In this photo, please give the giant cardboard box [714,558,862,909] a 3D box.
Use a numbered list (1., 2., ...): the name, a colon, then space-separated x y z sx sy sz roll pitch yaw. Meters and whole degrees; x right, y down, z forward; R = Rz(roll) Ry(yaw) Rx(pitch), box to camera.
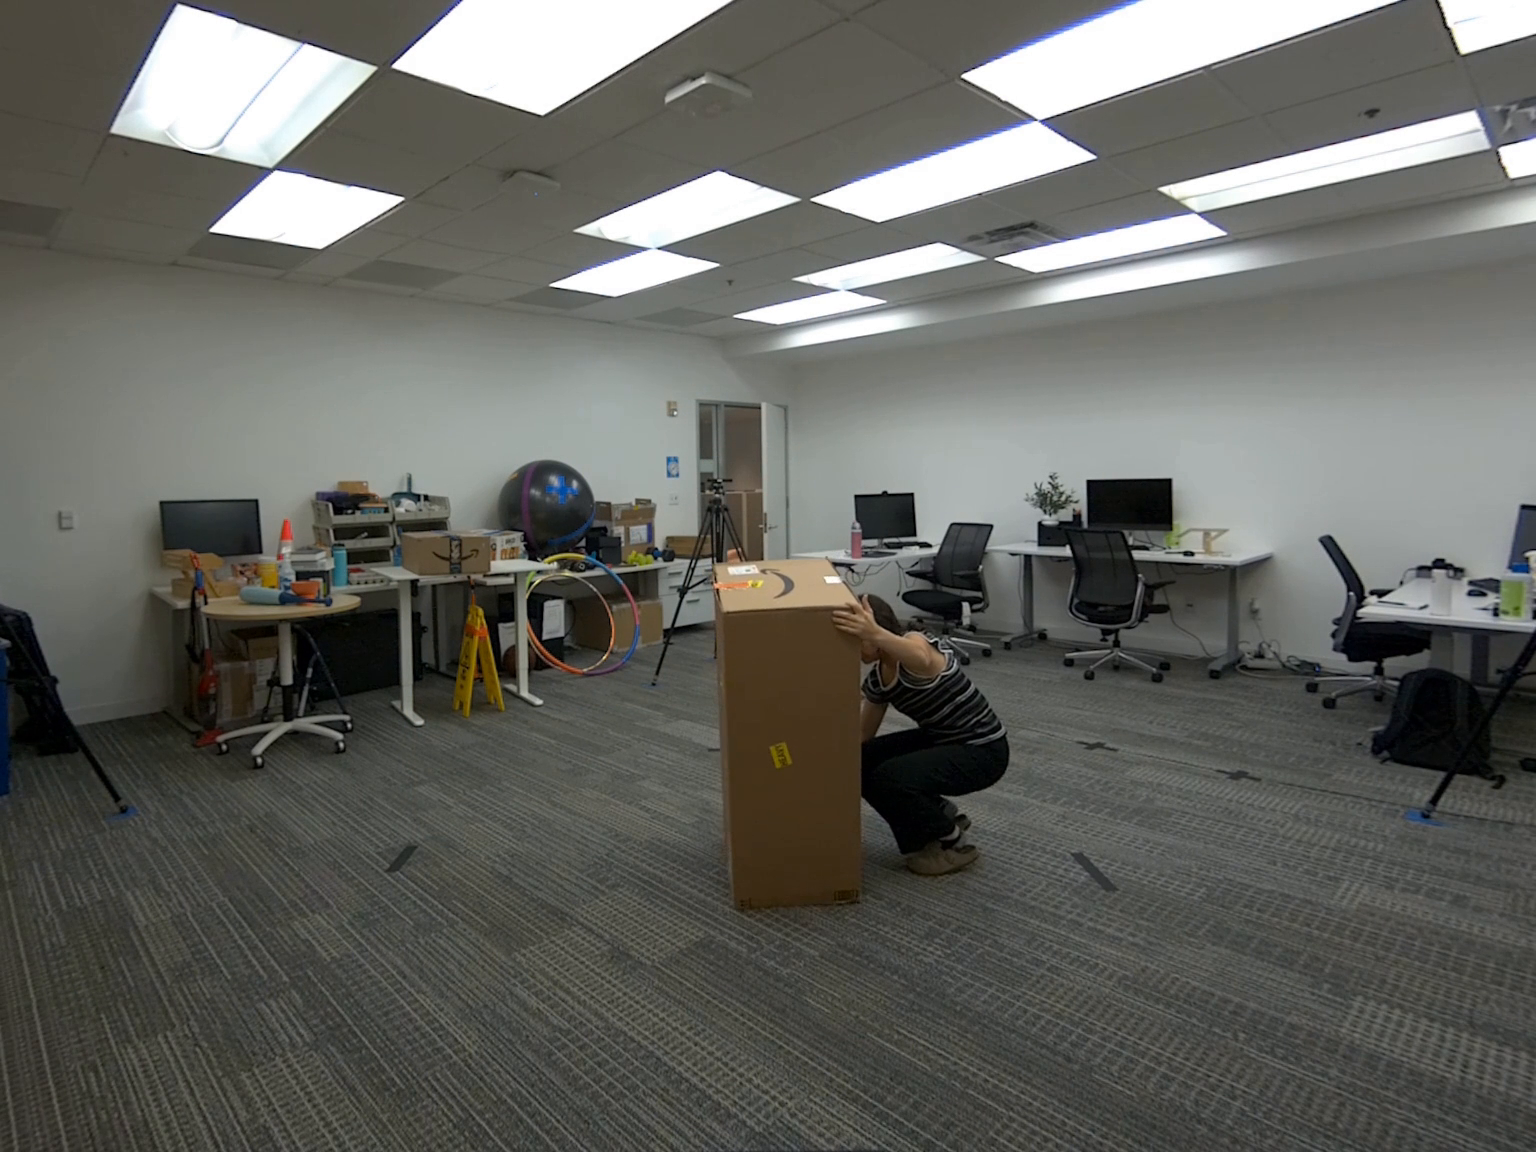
1. giant cardboard box: 0.061 0.509 2.945 0.424 1.013 0.588 -3 14 -6
